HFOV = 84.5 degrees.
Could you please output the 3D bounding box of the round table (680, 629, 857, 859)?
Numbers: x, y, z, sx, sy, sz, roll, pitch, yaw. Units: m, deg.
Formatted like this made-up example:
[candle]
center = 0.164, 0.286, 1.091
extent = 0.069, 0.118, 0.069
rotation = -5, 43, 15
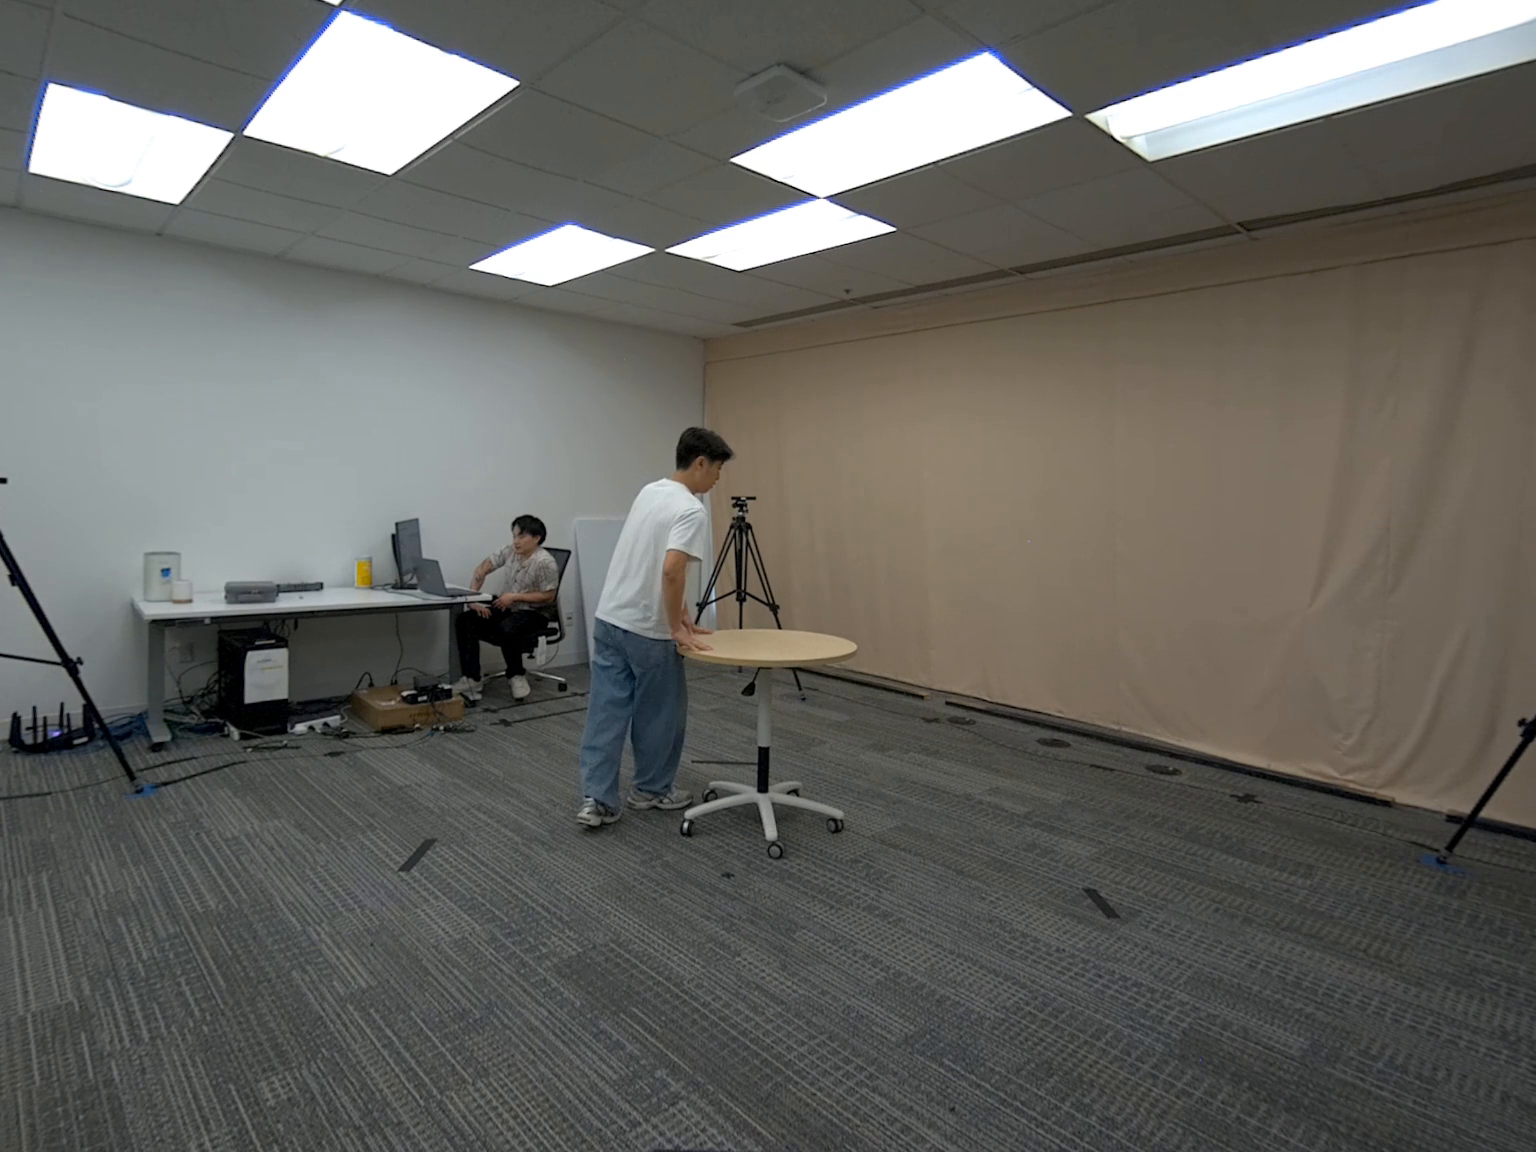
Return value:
[round table]
center = -0.025, 0.679, 3.583
extent = 0.763, 0.792, 0.766
rotation = 1, 3, -1
